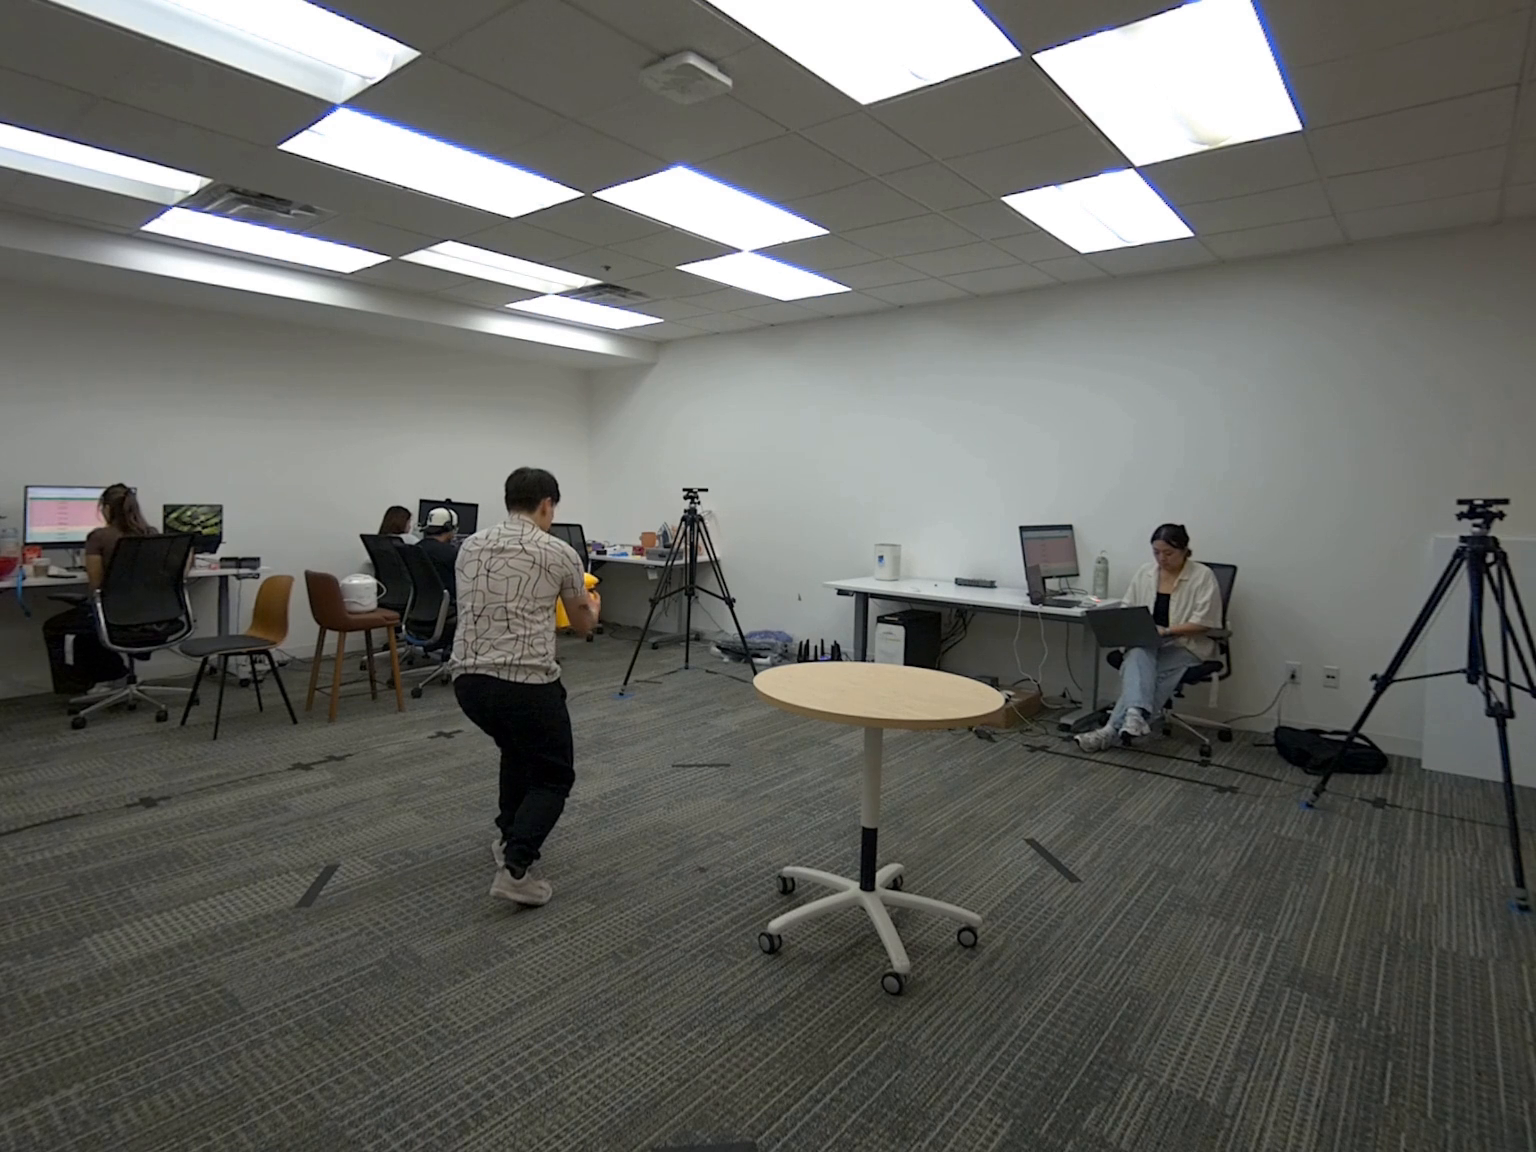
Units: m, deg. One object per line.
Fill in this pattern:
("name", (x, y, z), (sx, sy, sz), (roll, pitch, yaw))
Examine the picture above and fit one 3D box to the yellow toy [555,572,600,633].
("yellow toy", (-0.788, 0.131, 3.468), (0.188, 0.202, 0.240), (7, 36, -25))
